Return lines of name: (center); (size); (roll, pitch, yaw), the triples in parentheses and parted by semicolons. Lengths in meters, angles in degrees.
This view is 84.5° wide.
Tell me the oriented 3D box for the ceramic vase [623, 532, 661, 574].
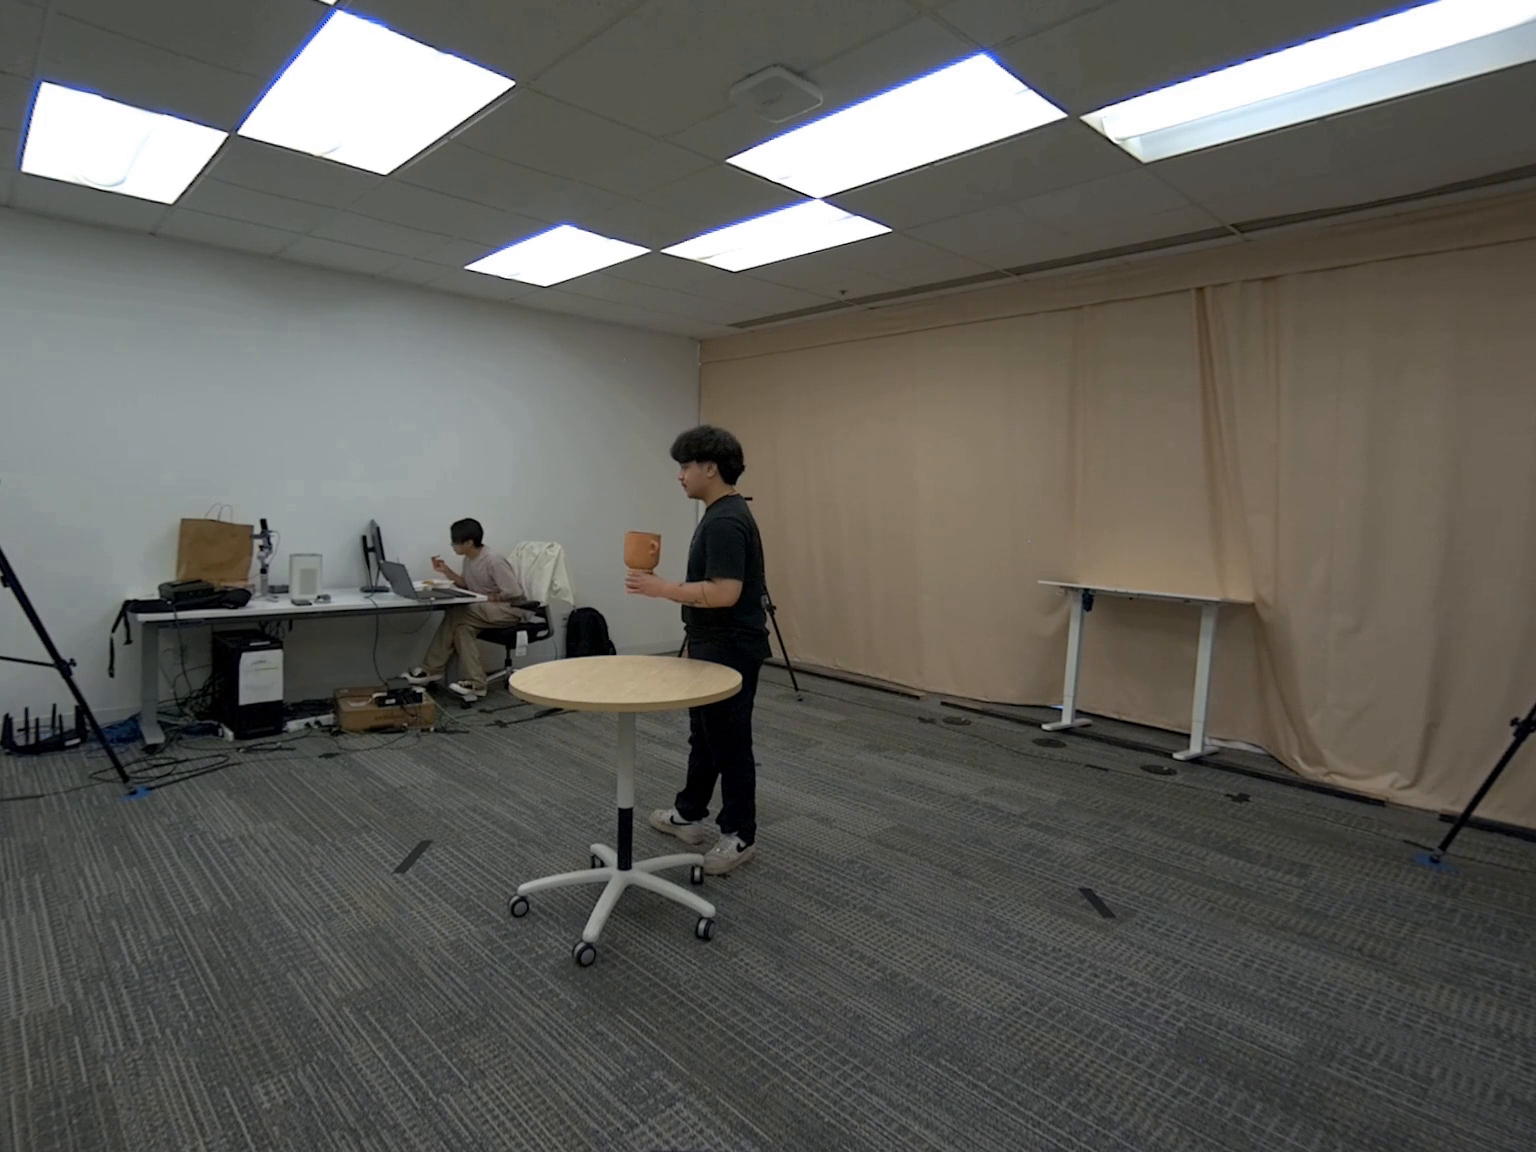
ceramic vase: (-0.472, -0.049, 3.109); (0.134, 0.219, 0.159); (4, 1, -5)
